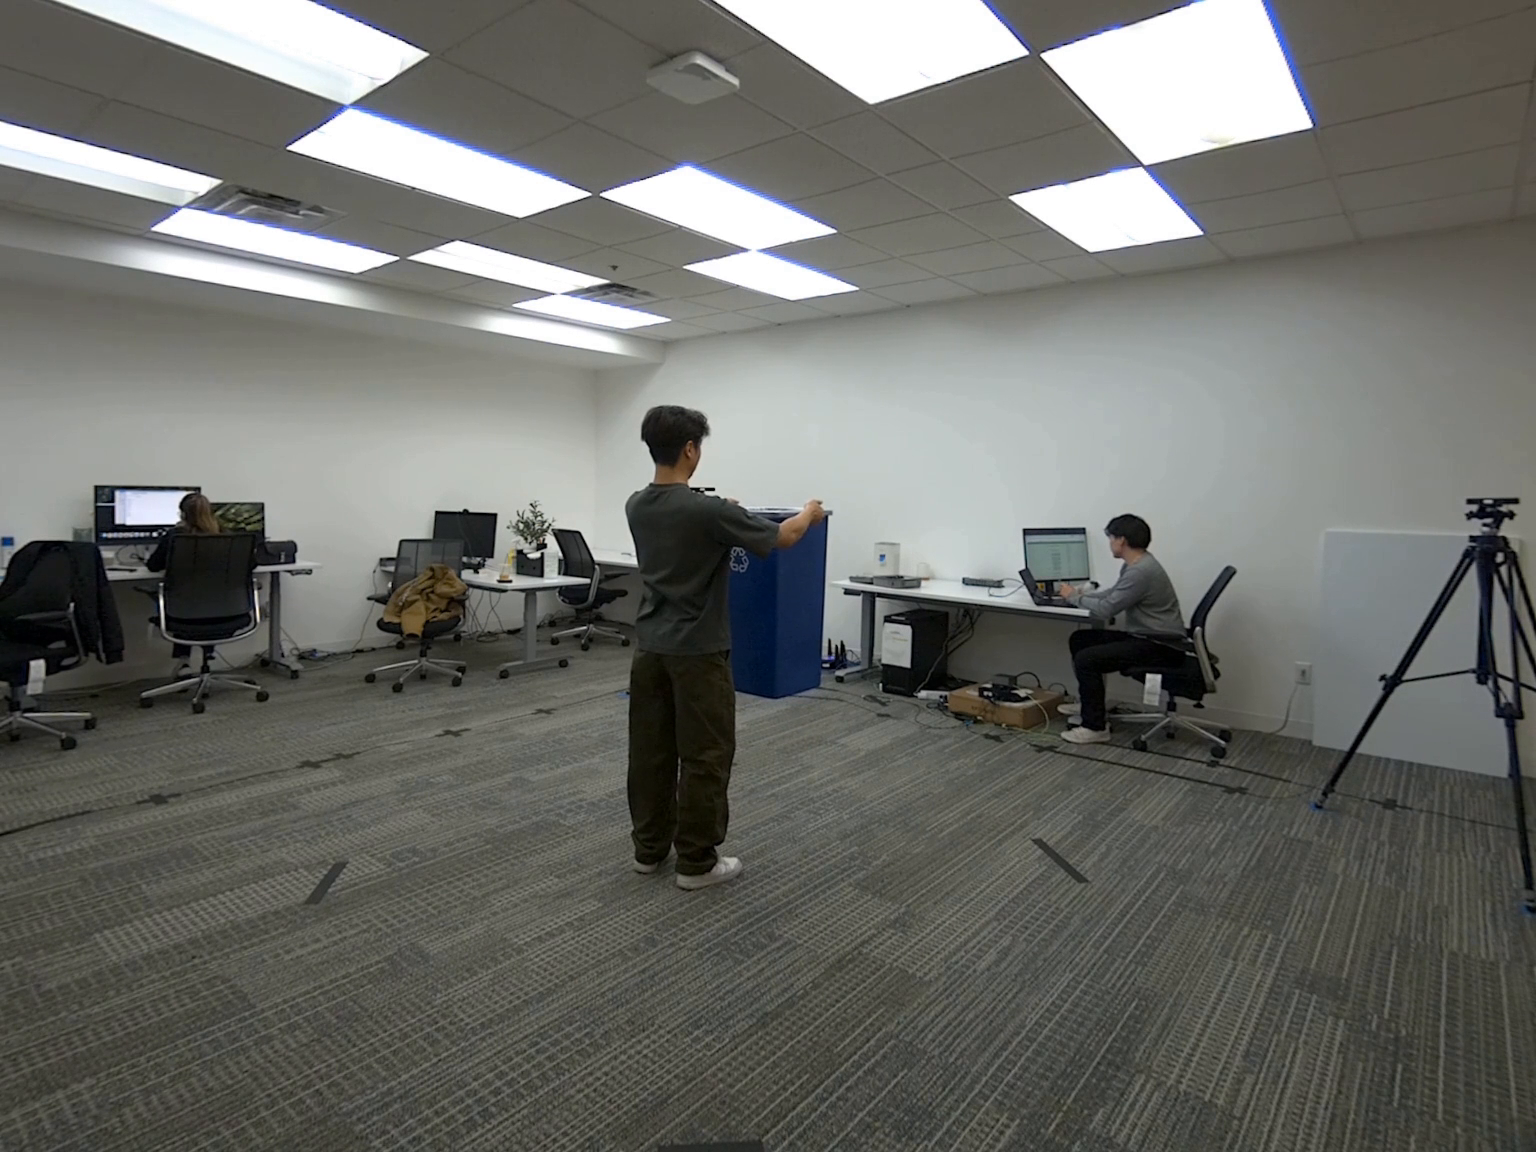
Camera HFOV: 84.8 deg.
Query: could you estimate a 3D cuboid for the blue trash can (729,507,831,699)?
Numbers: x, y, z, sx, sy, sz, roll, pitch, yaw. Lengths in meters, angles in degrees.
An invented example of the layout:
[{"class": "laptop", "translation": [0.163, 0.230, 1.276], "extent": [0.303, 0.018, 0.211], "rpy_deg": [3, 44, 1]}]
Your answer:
[{"class": "blue trash can", "translation": [-0.002, 0.089, 3.394], "extent": [0.391, 0.710, 0.363], "rpy_deg": [4, 6, 39]}]
